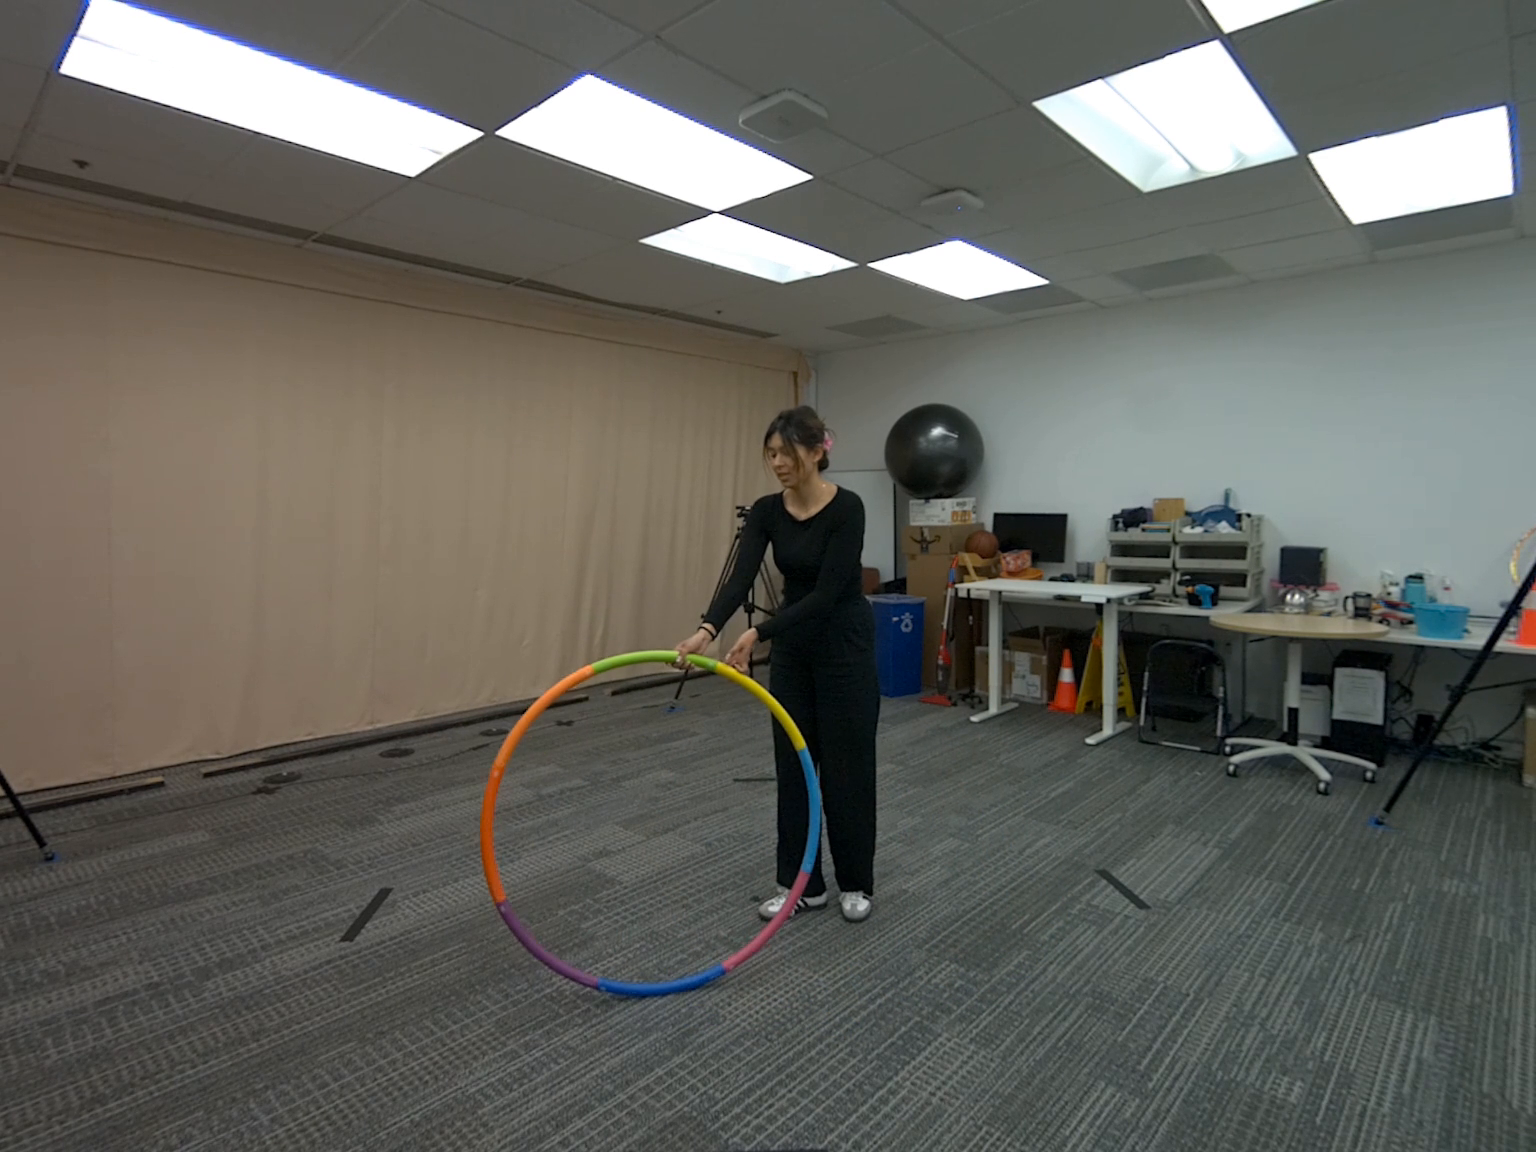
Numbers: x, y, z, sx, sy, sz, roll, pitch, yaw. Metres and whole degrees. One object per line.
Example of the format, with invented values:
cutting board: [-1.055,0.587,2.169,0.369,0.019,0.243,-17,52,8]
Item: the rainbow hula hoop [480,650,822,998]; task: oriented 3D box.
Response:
rainbow hula hoop: [-0.304,0.715,2.437,0.965,0.982,0.036,-1,-5,-13]
